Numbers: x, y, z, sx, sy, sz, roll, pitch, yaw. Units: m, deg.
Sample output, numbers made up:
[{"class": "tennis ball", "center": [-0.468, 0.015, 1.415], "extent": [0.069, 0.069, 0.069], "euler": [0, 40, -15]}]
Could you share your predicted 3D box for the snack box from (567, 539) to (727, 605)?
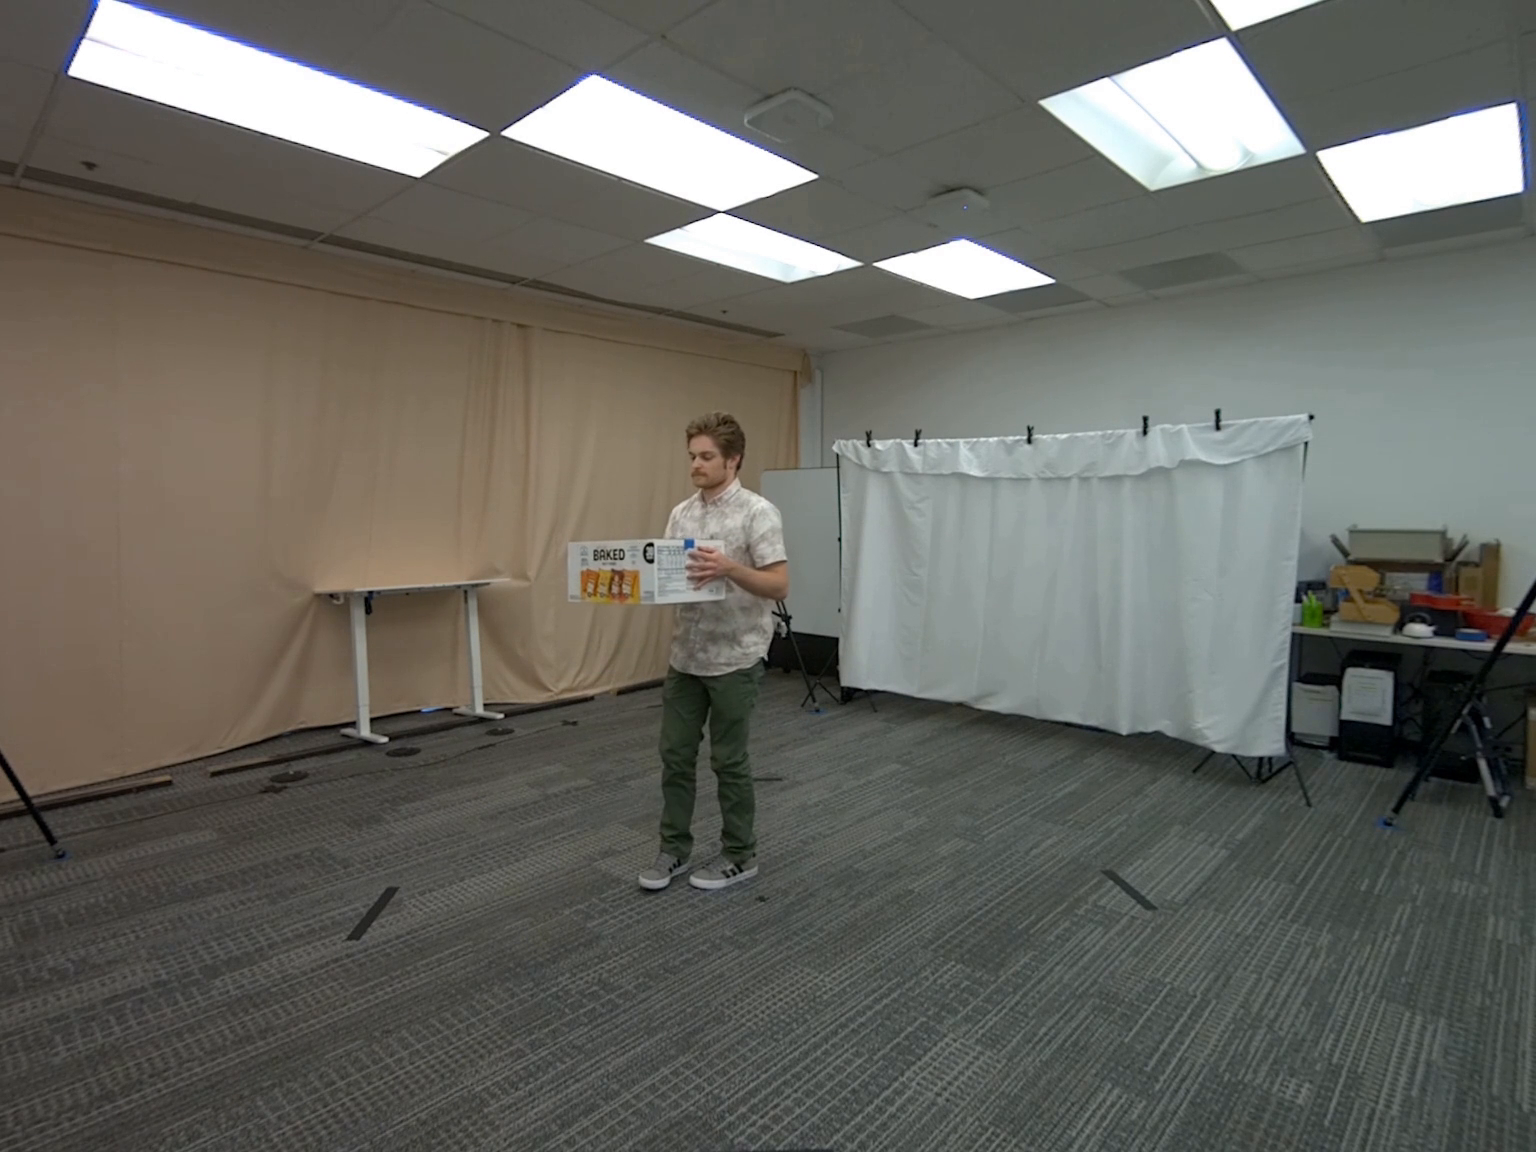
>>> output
[{"class": "snack box", "center": [-0.407, -0.018, 2.830], "extent": [0.418, 0.205, 0.330], "euler": [0, 2, 37]}]
